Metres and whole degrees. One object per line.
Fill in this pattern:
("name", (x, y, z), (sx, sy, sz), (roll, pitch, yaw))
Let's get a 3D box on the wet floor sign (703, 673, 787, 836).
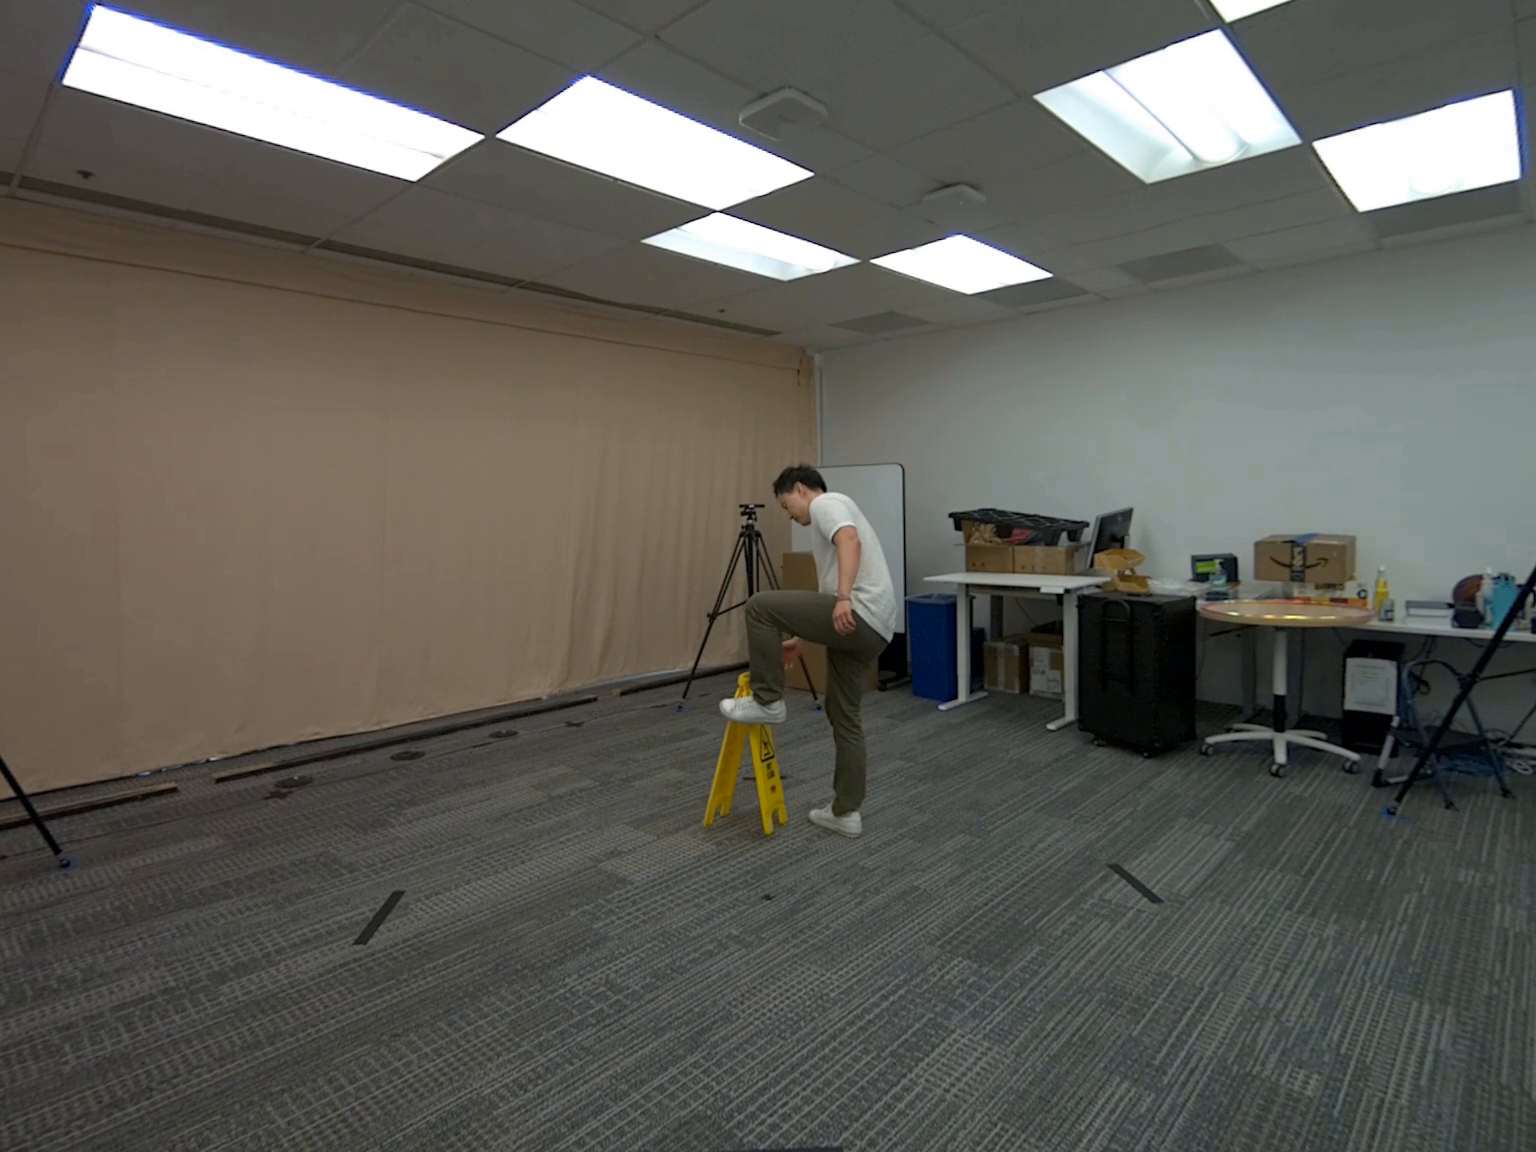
("wet floor sign", (-0.086, 0.748, 3.665), (0.296, 0.648, 0.275), (0, -5, 21))
